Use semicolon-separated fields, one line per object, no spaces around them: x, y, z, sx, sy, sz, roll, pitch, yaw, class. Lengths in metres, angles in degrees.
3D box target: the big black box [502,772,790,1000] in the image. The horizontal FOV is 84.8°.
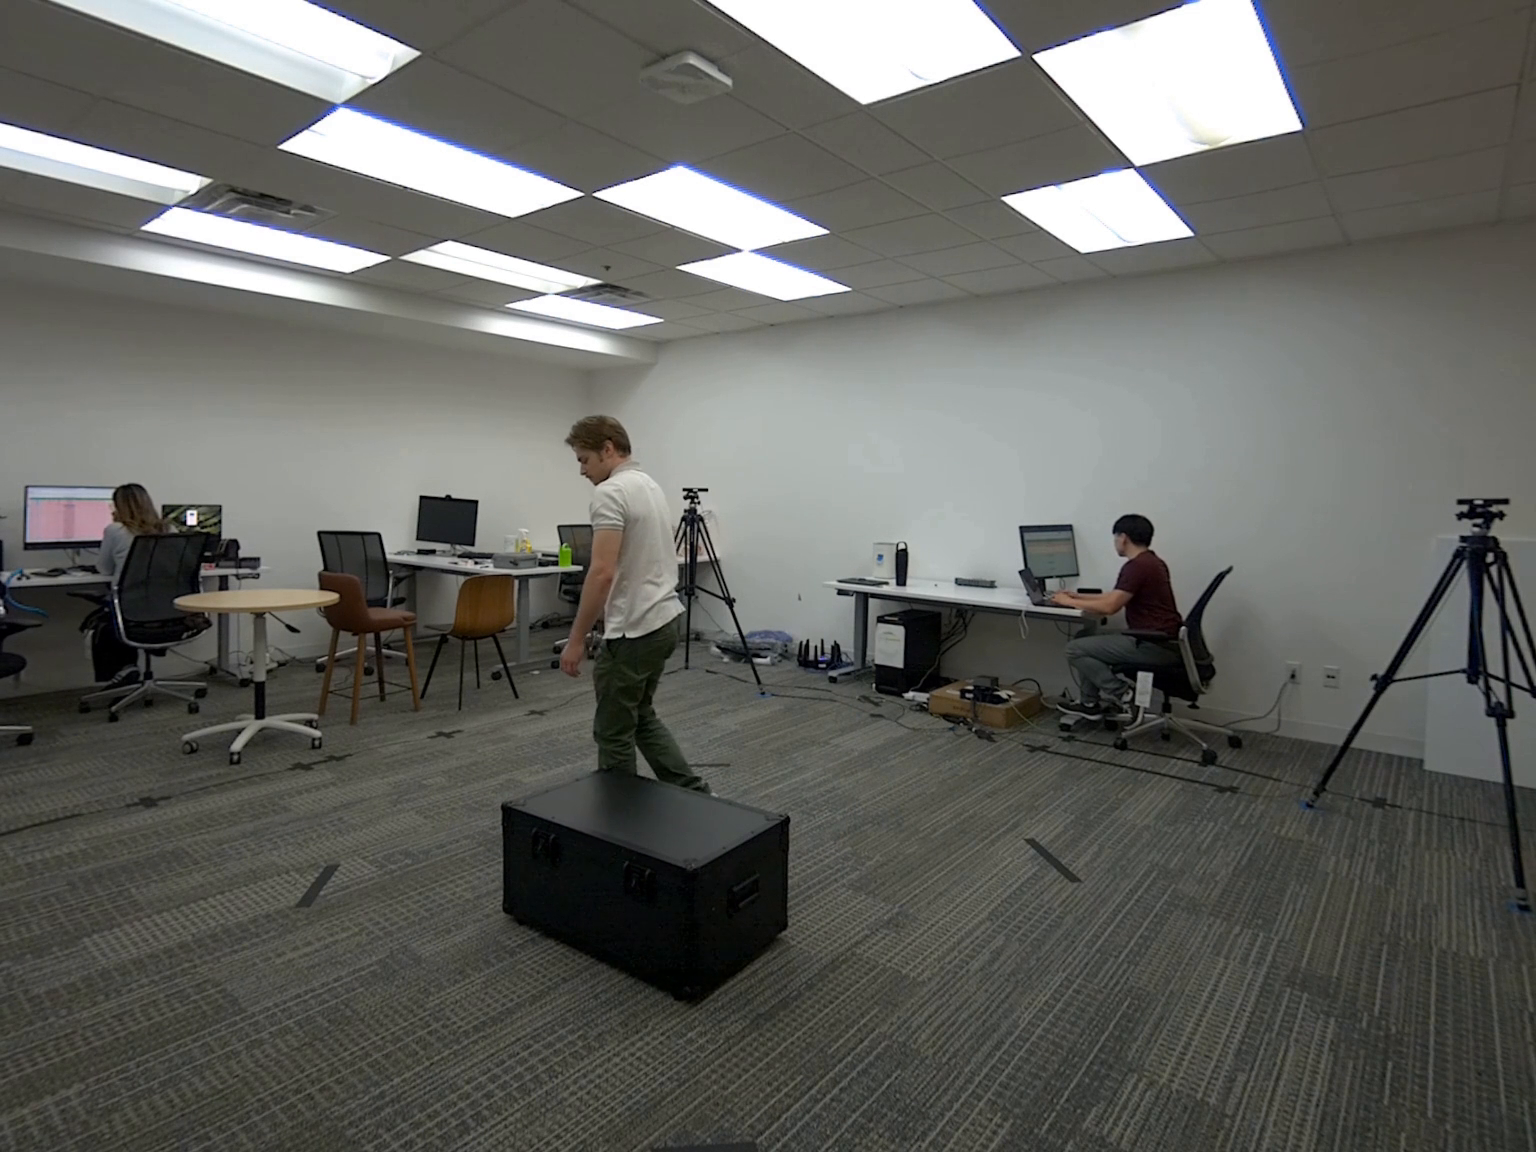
-0.429;0.910;2.702;0.896;0.383;0.509;4;7;35;big black box
